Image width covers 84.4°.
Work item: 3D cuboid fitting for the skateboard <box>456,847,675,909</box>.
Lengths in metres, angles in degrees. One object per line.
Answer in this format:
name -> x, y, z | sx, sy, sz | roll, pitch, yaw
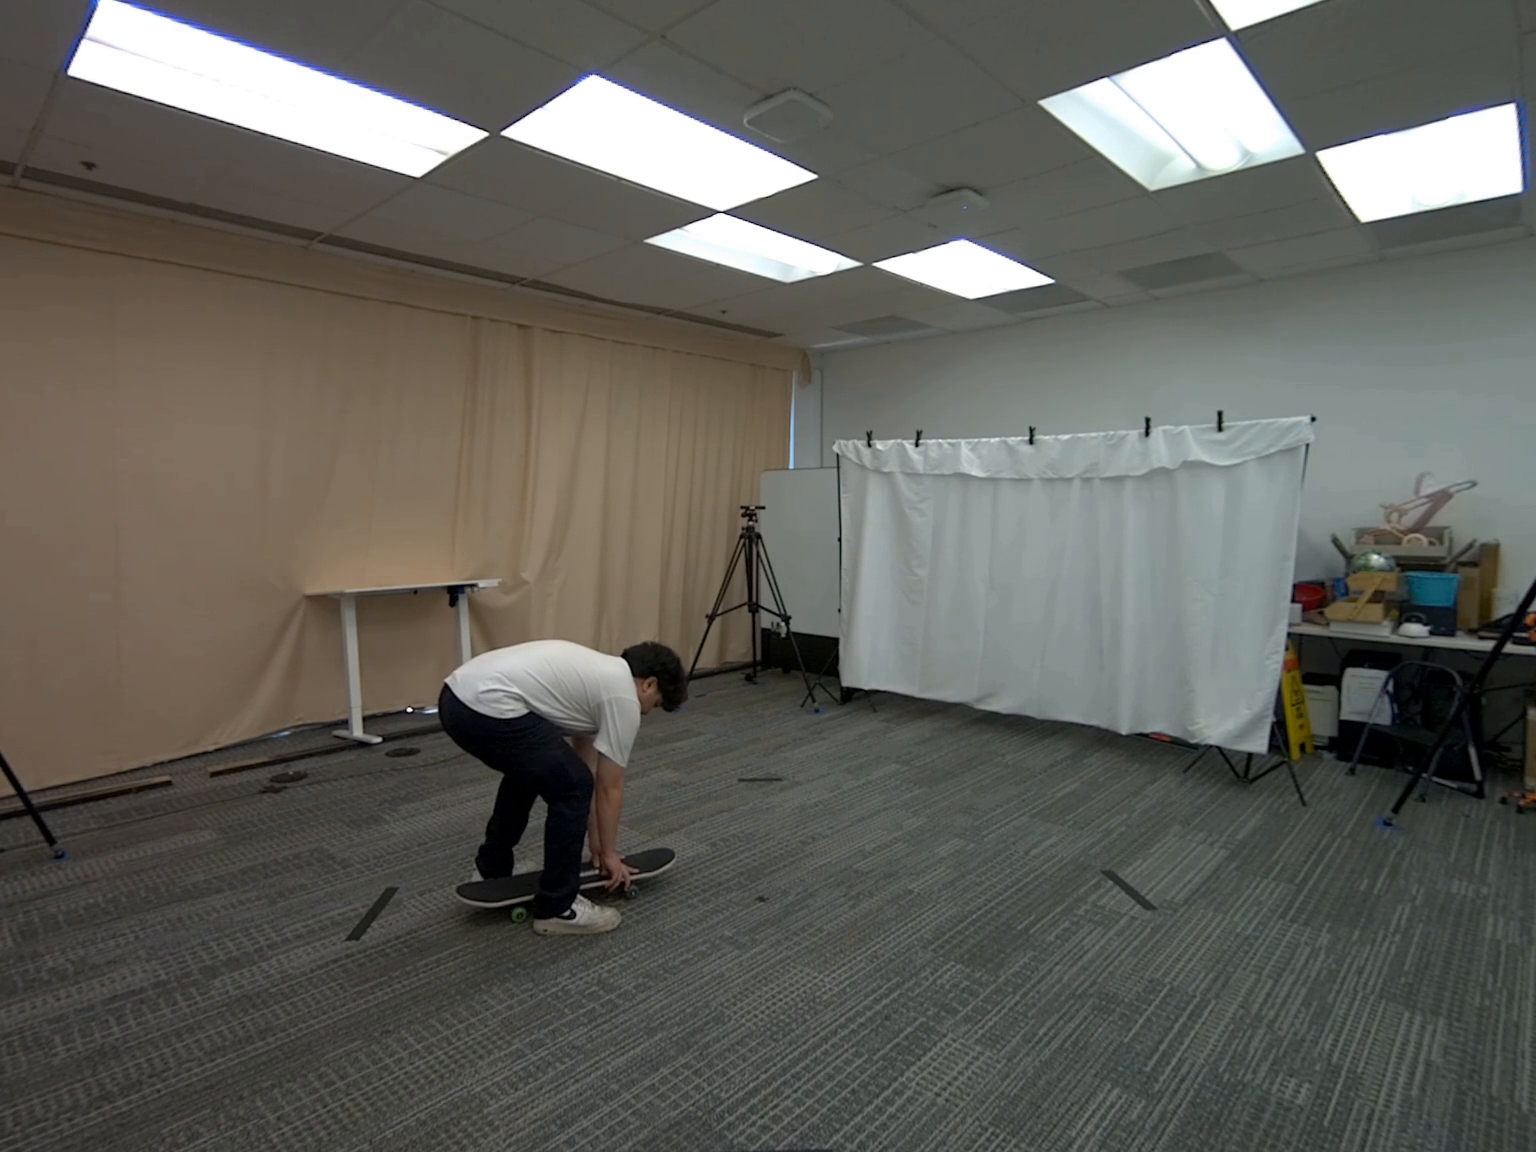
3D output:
skateboard -> -0.696, 1.099, 2.975 | 0.767, 0.110, 0.198 | -3, 5, -24
